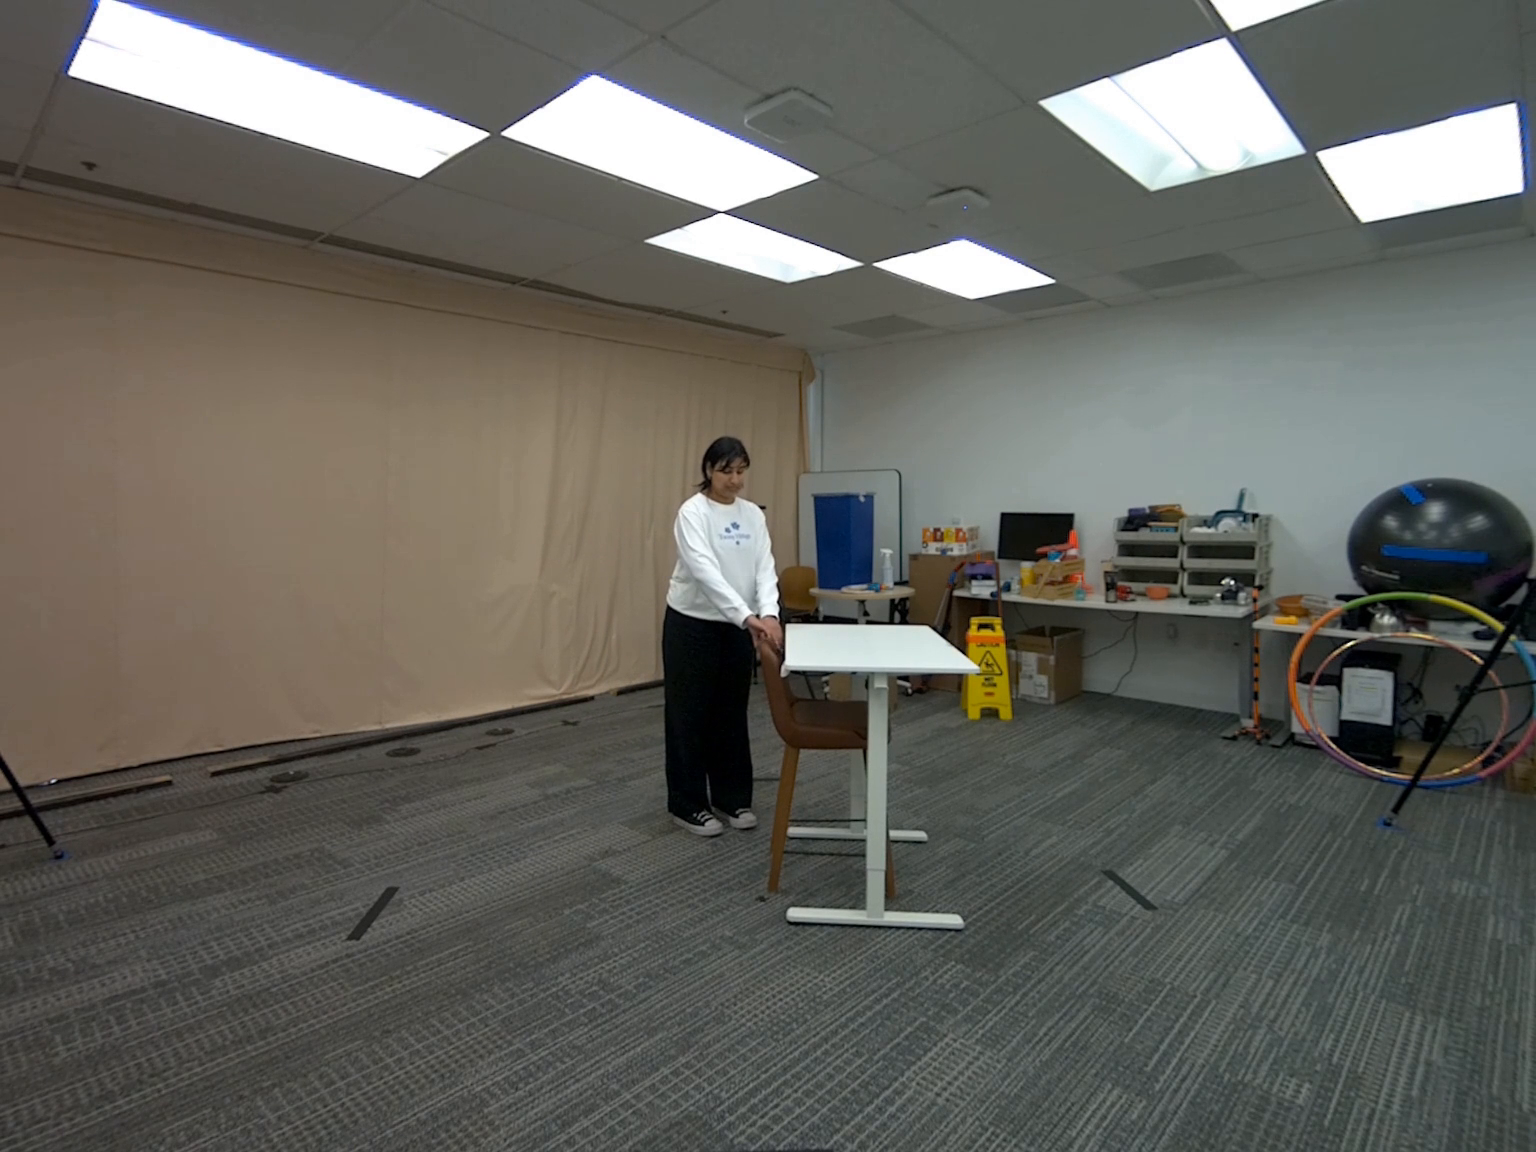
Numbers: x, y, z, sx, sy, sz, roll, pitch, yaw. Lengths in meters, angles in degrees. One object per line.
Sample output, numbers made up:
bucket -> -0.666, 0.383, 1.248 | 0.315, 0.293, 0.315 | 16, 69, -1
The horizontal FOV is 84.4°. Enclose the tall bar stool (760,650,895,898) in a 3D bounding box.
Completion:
tall bar stool -> 0.228, 0.693, 3.181 | 0.470, 0.888, 0.455 | -1, 3, 5
